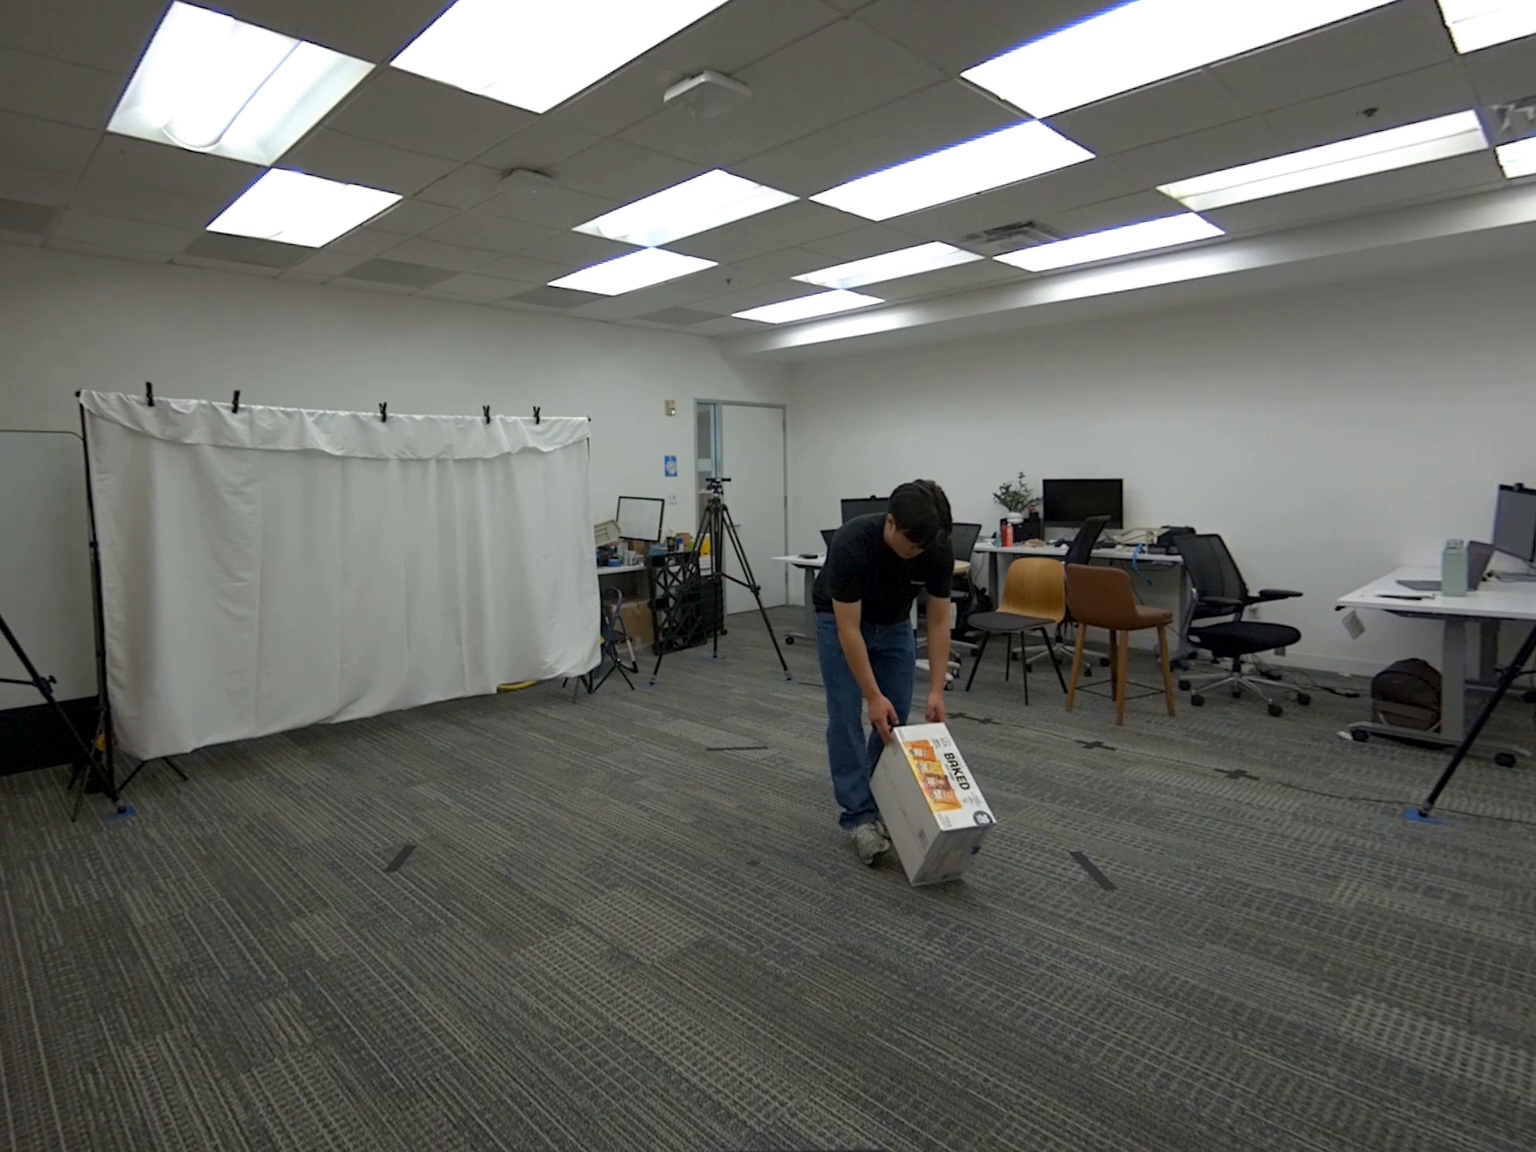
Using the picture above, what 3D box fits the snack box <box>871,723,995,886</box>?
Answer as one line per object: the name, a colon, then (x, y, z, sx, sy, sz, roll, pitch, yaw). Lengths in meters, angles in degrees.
snack box: (0.559, 0.794, 2.973, 0.203, 0.333, 0.419, -2, 41, -17)
